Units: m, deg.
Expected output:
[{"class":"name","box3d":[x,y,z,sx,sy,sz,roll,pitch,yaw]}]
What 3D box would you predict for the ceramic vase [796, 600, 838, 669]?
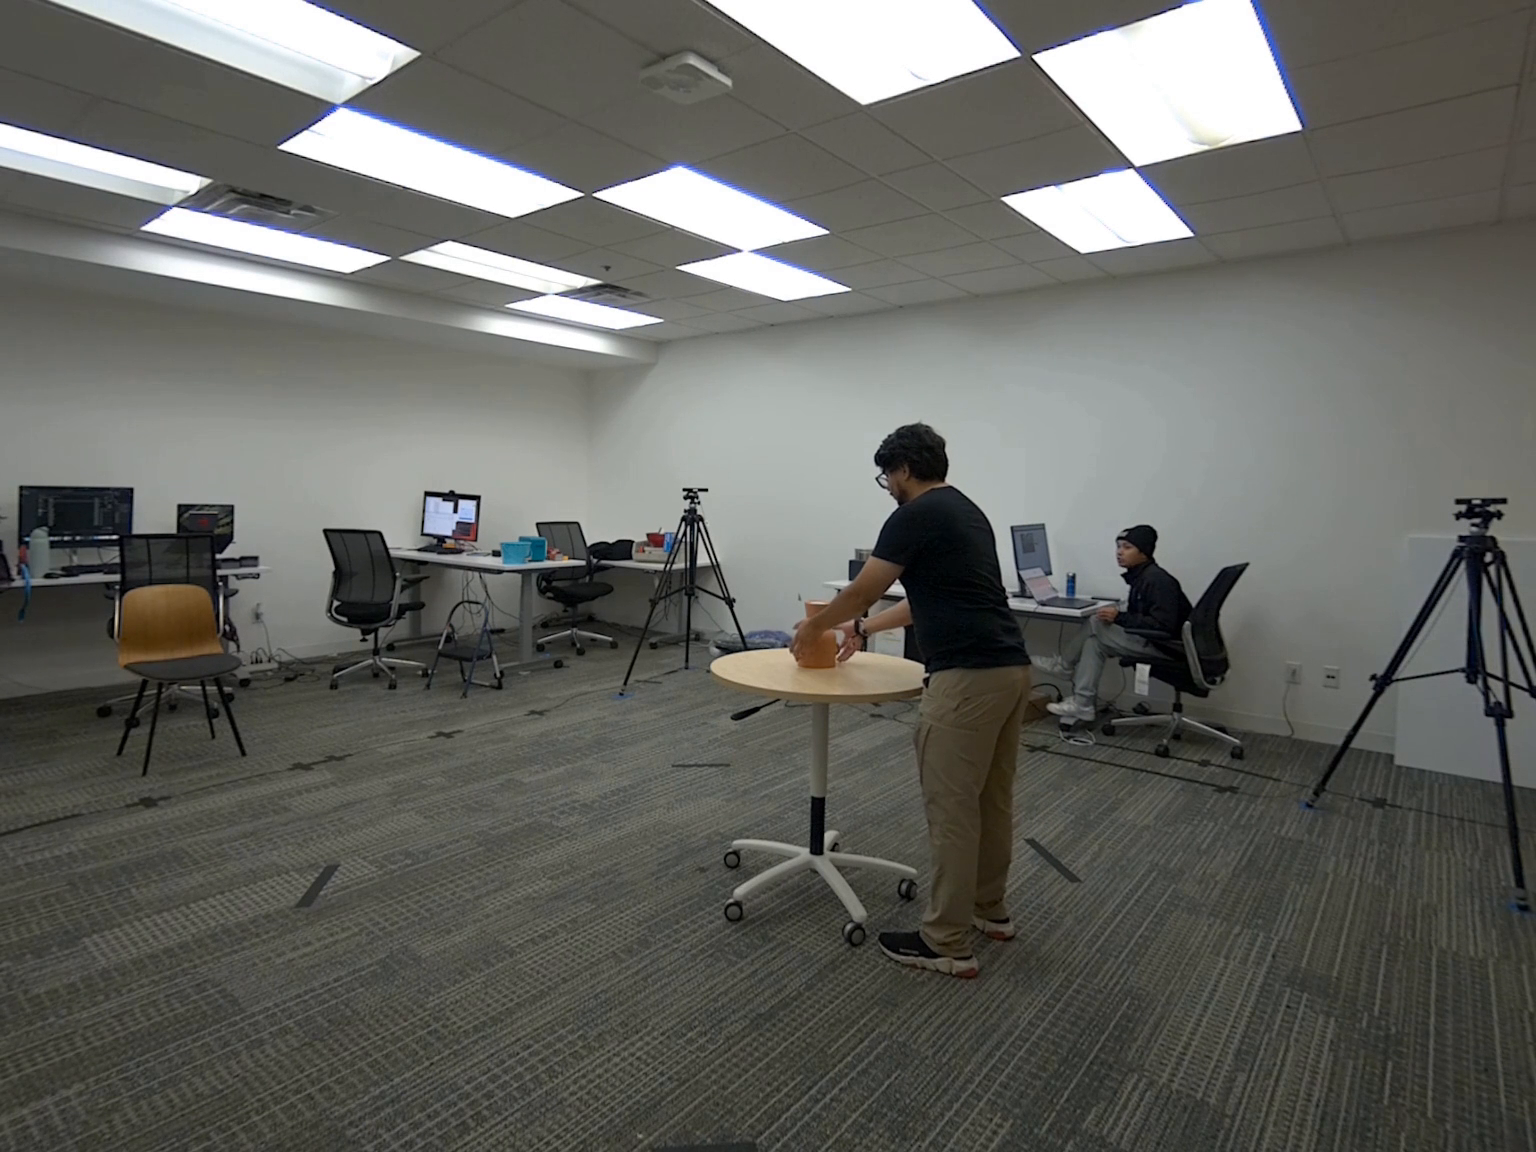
[{"class":"ceramic vase","box3d":[0.170,0.200,2.969,0.138,0.219,0.156,2,4,20]}]
